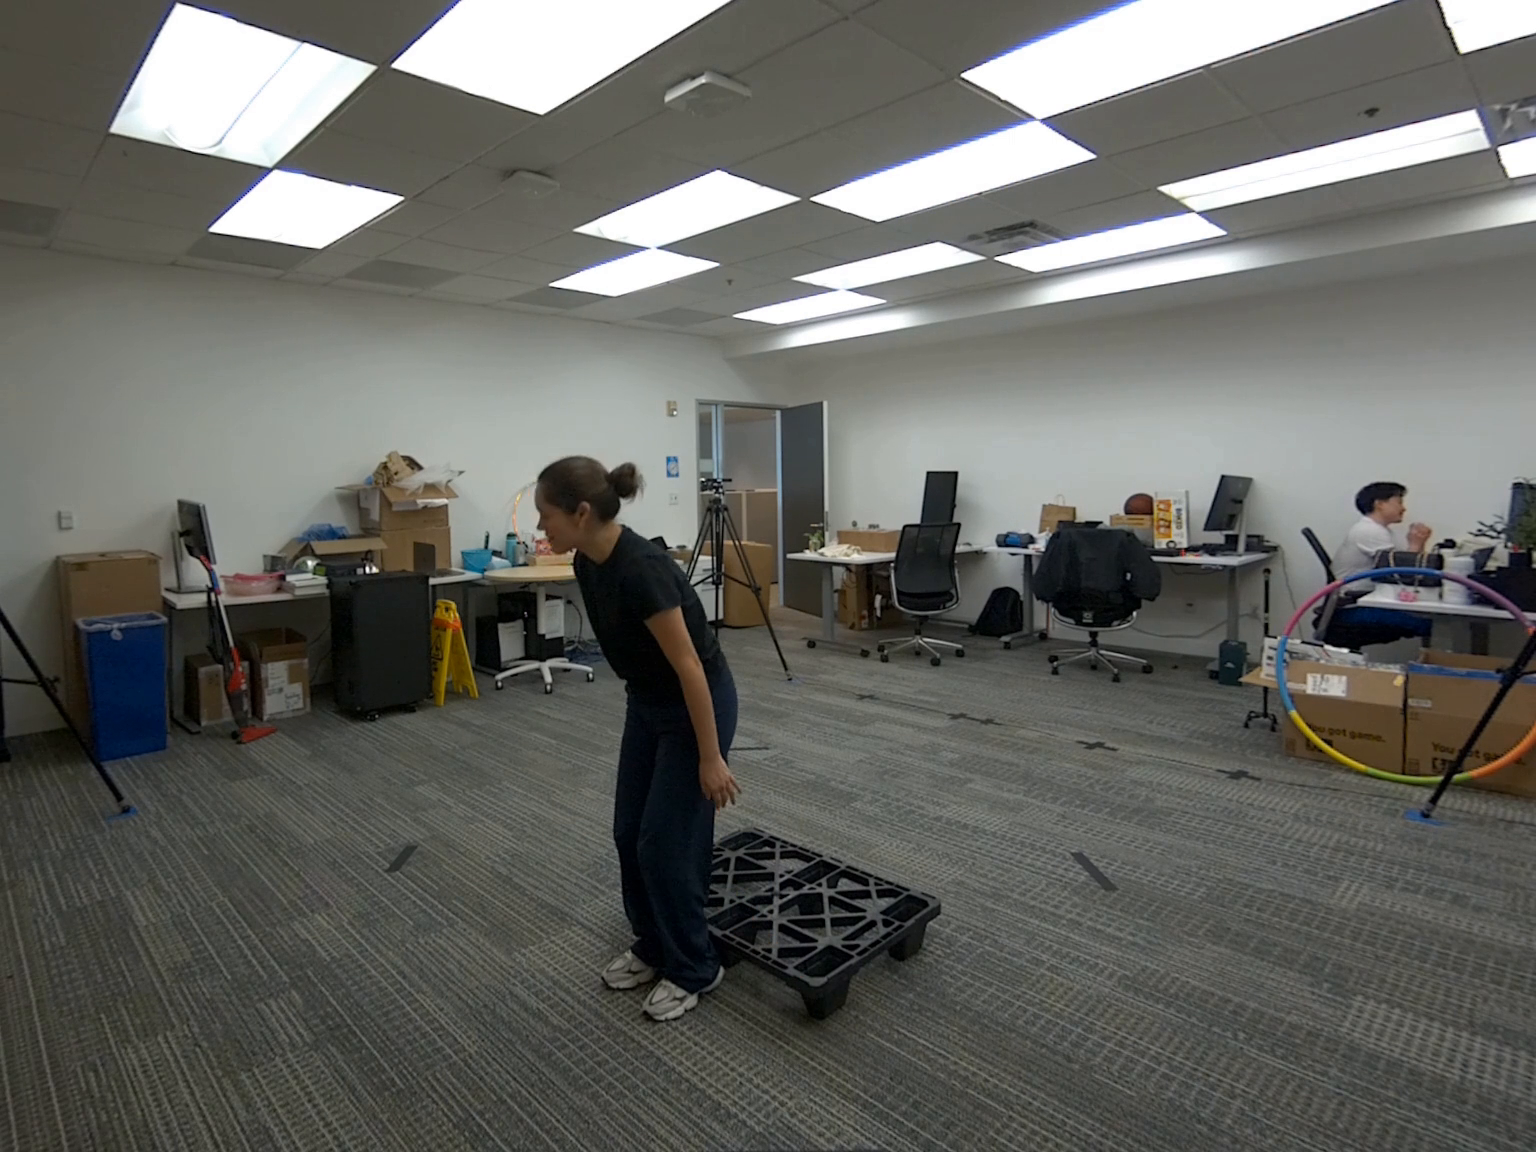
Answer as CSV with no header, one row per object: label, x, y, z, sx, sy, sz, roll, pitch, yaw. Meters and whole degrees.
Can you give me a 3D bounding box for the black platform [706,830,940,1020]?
black platform,0.031,1.031,2.643,0.831,0.142,0.589,6,9,44
